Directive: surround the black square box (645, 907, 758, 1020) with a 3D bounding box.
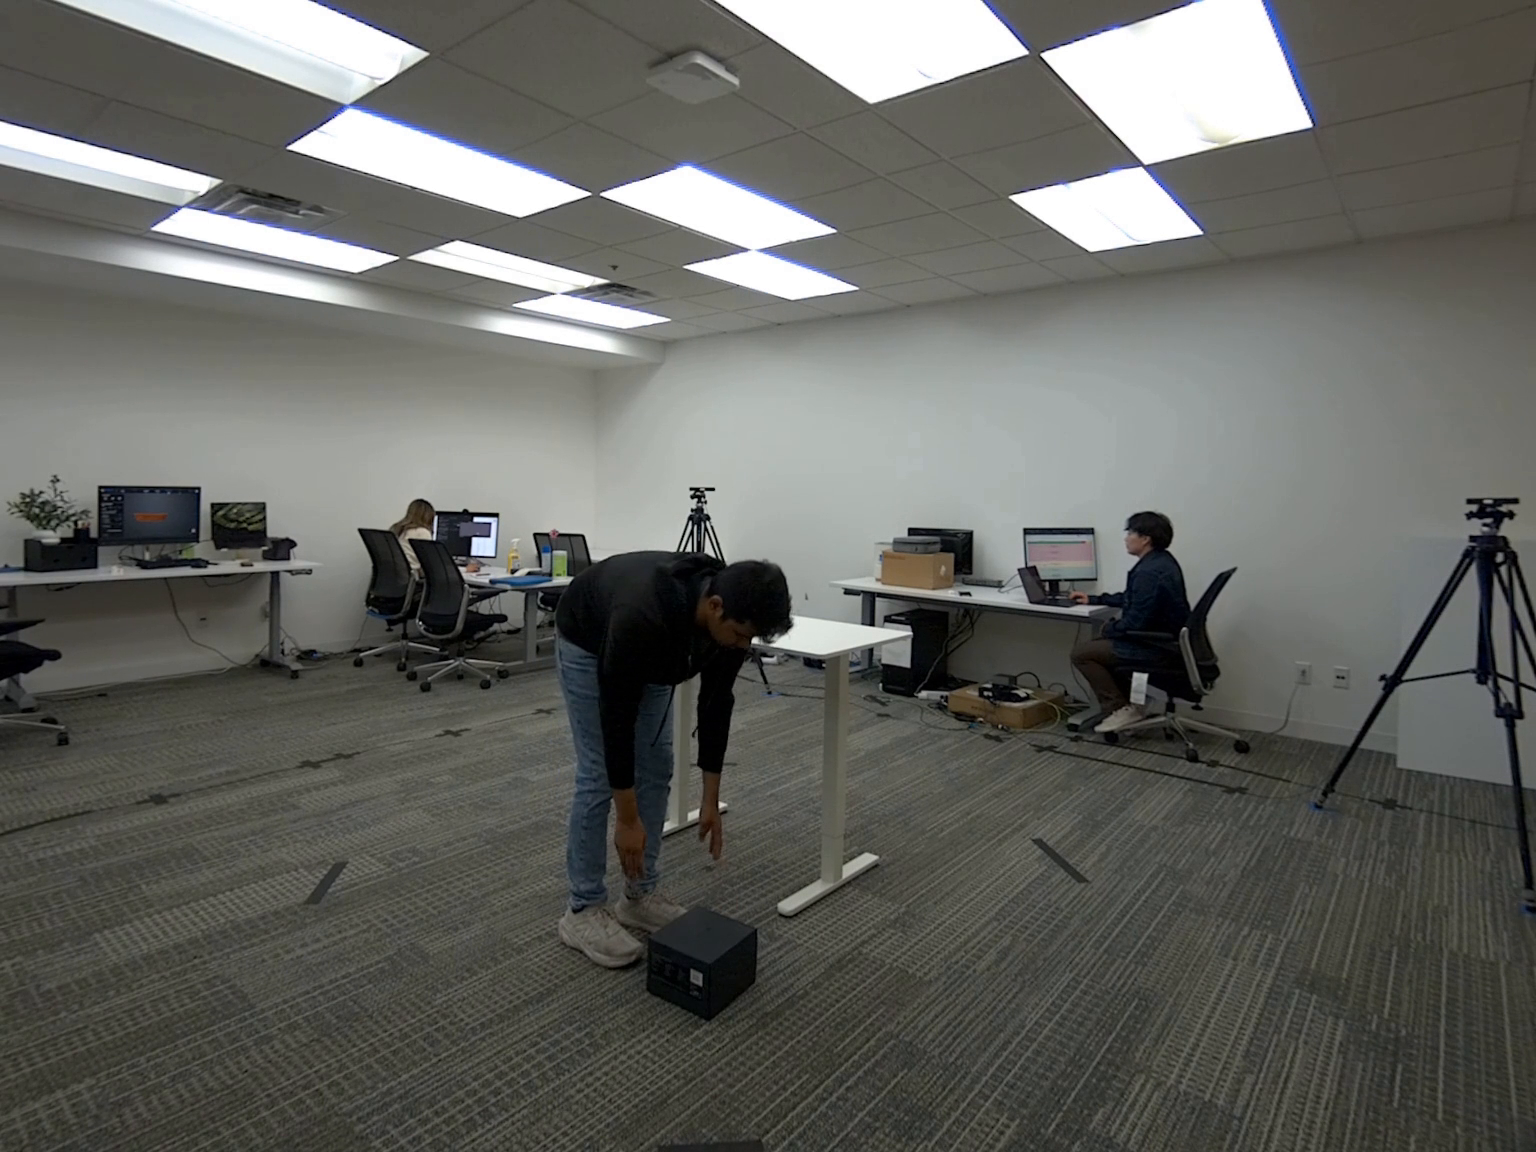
[{"bbox_3d":[-0.187,1.057,2.361,0.224,0.155,0.222,4,6,34],"label":"black square box"}]
